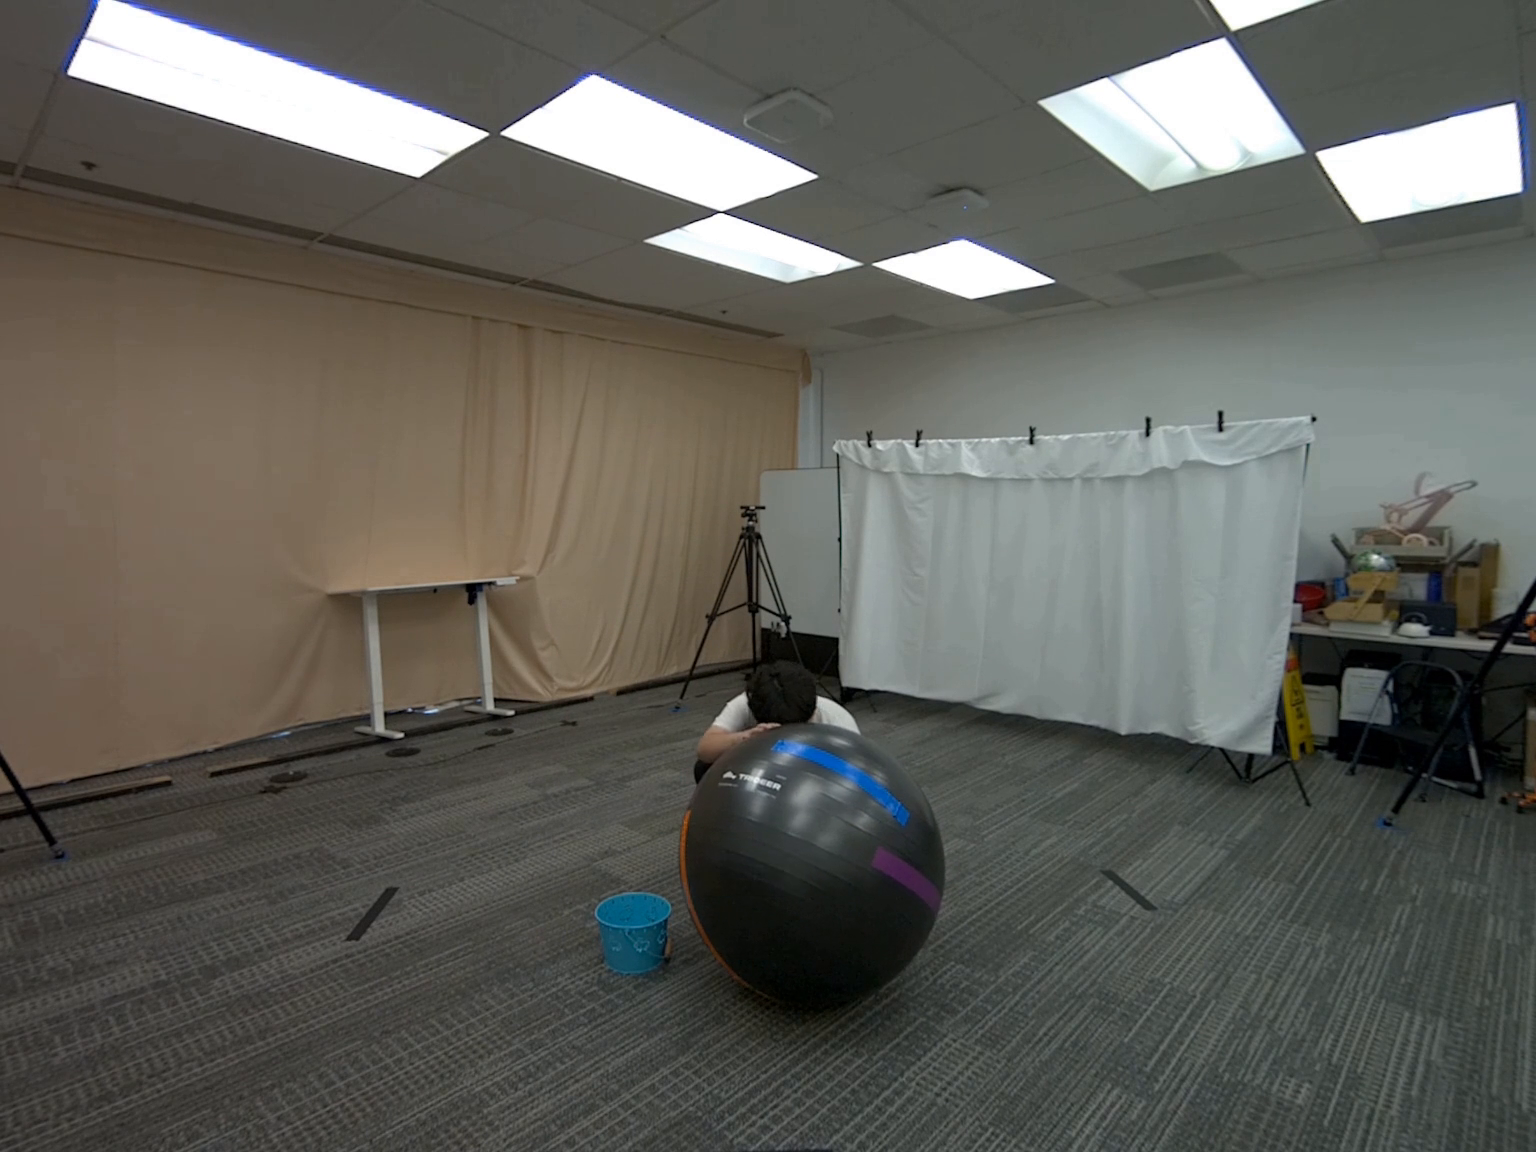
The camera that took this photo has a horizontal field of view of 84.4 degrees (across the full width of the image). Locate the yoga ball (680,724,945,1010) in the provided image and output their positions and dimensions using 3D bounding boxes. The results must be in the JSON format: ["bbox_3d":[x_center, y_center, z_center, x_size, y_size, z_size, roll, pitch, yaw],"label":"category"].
[{"bbox_3d":[0.126,0.813,2.442,0.757,0.756,0.760,0,4,-2],"label":"yoga ball"}]
